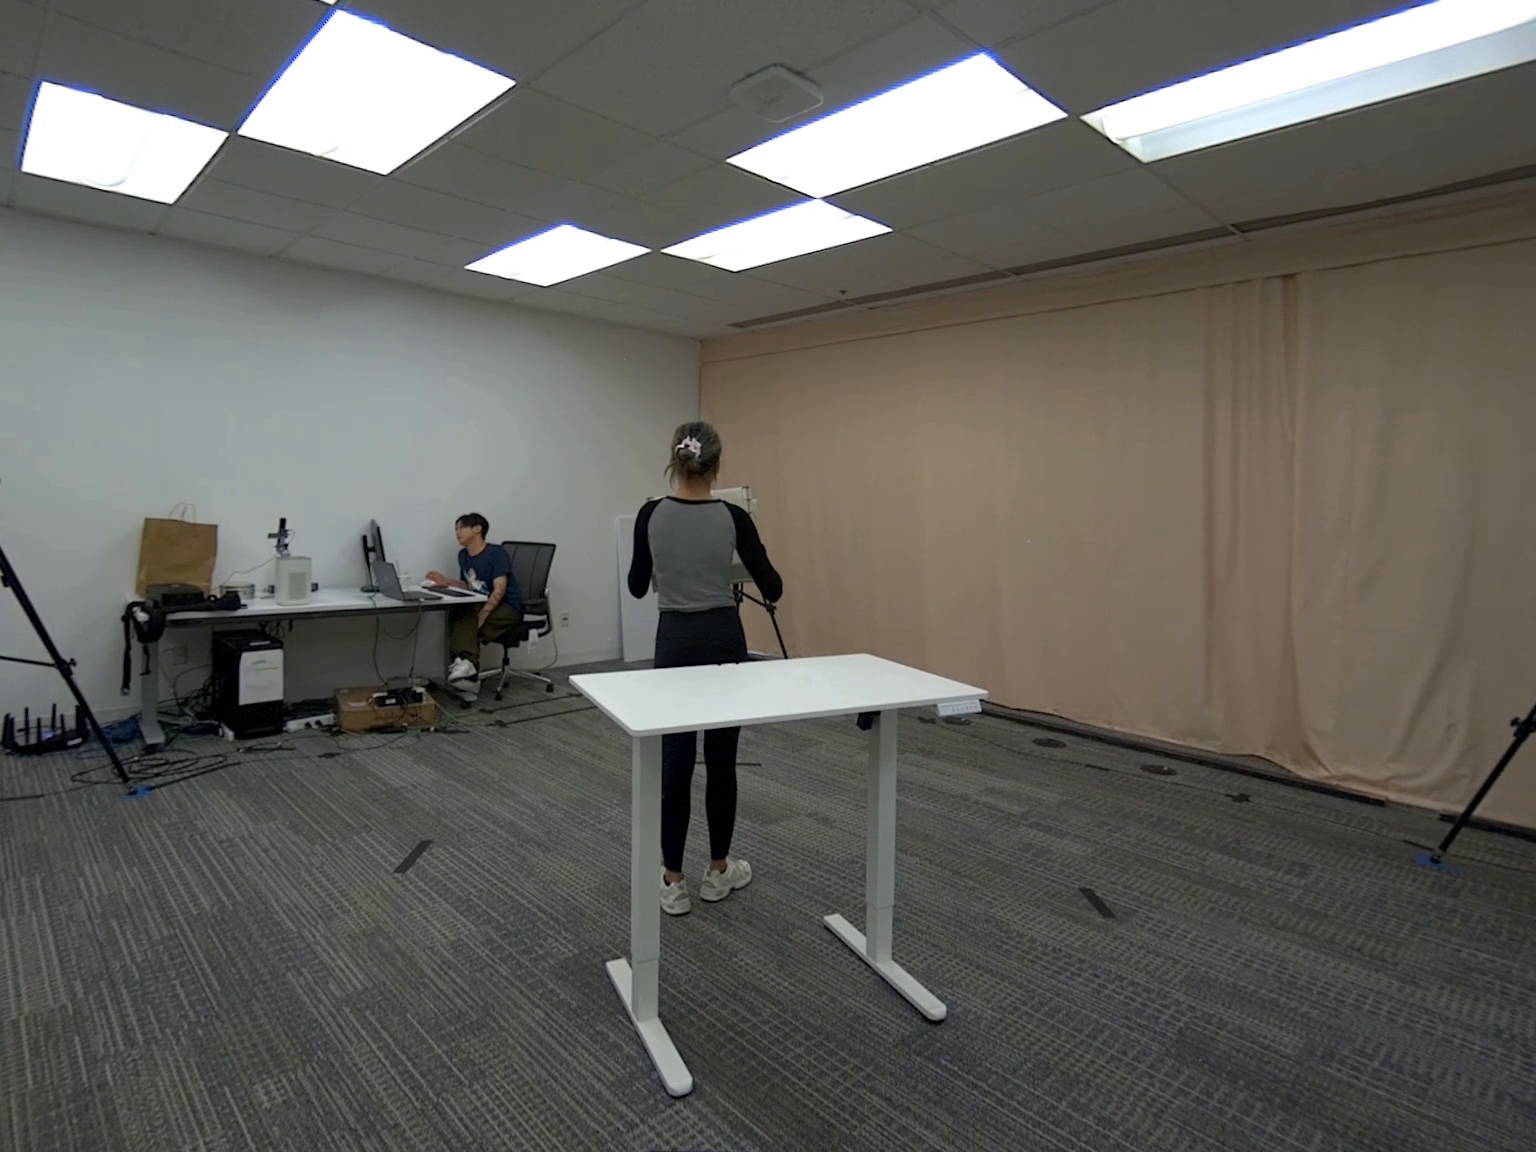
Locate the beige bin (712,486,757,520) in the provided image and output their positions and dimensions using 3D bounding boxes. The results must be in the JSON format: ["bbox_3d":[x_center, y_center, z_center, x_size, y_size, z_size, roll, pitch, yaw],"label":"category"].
[{"bbox_3d":[-0.254,-0.138,3.285,0.425,0.381,0.186,-4,-15,8],"label":"beige bin"}]
